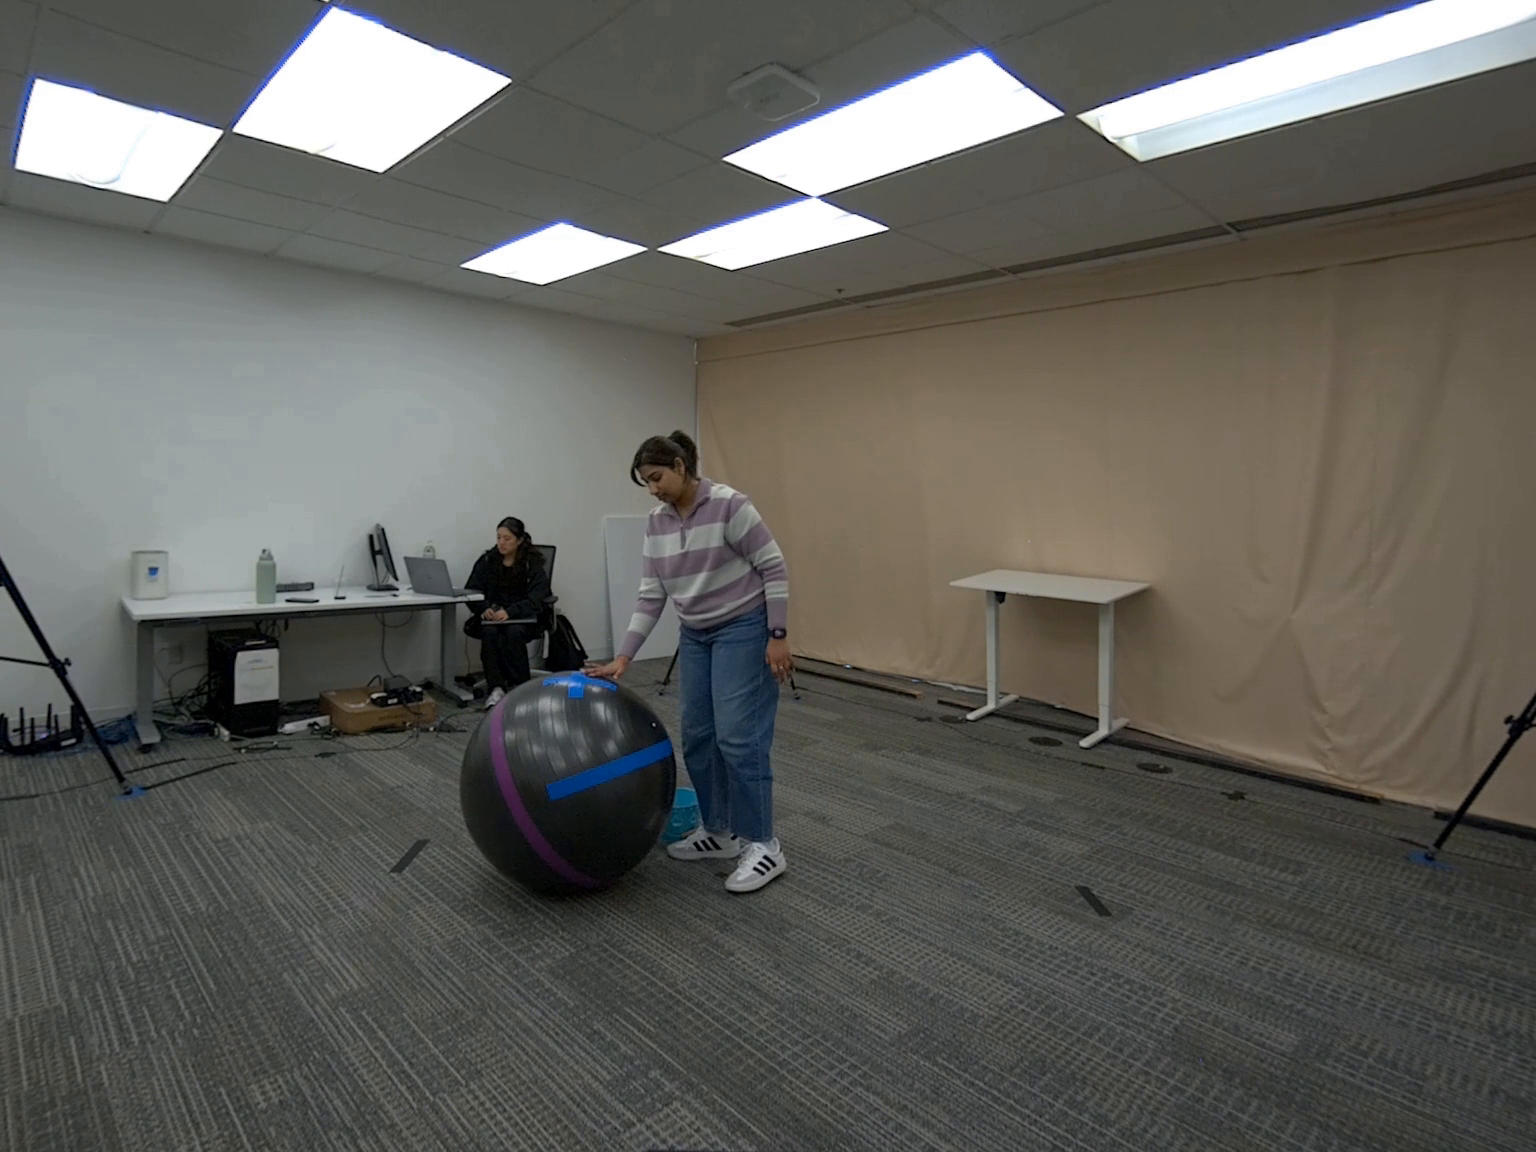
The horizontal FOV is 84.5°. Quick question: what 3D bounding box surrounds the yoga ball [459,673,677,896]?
[{"bbox_3d":[-0.725,0.734,3.010,0.757,0.756,0.761,1,4,-1],"label":"yoga ball"}]
